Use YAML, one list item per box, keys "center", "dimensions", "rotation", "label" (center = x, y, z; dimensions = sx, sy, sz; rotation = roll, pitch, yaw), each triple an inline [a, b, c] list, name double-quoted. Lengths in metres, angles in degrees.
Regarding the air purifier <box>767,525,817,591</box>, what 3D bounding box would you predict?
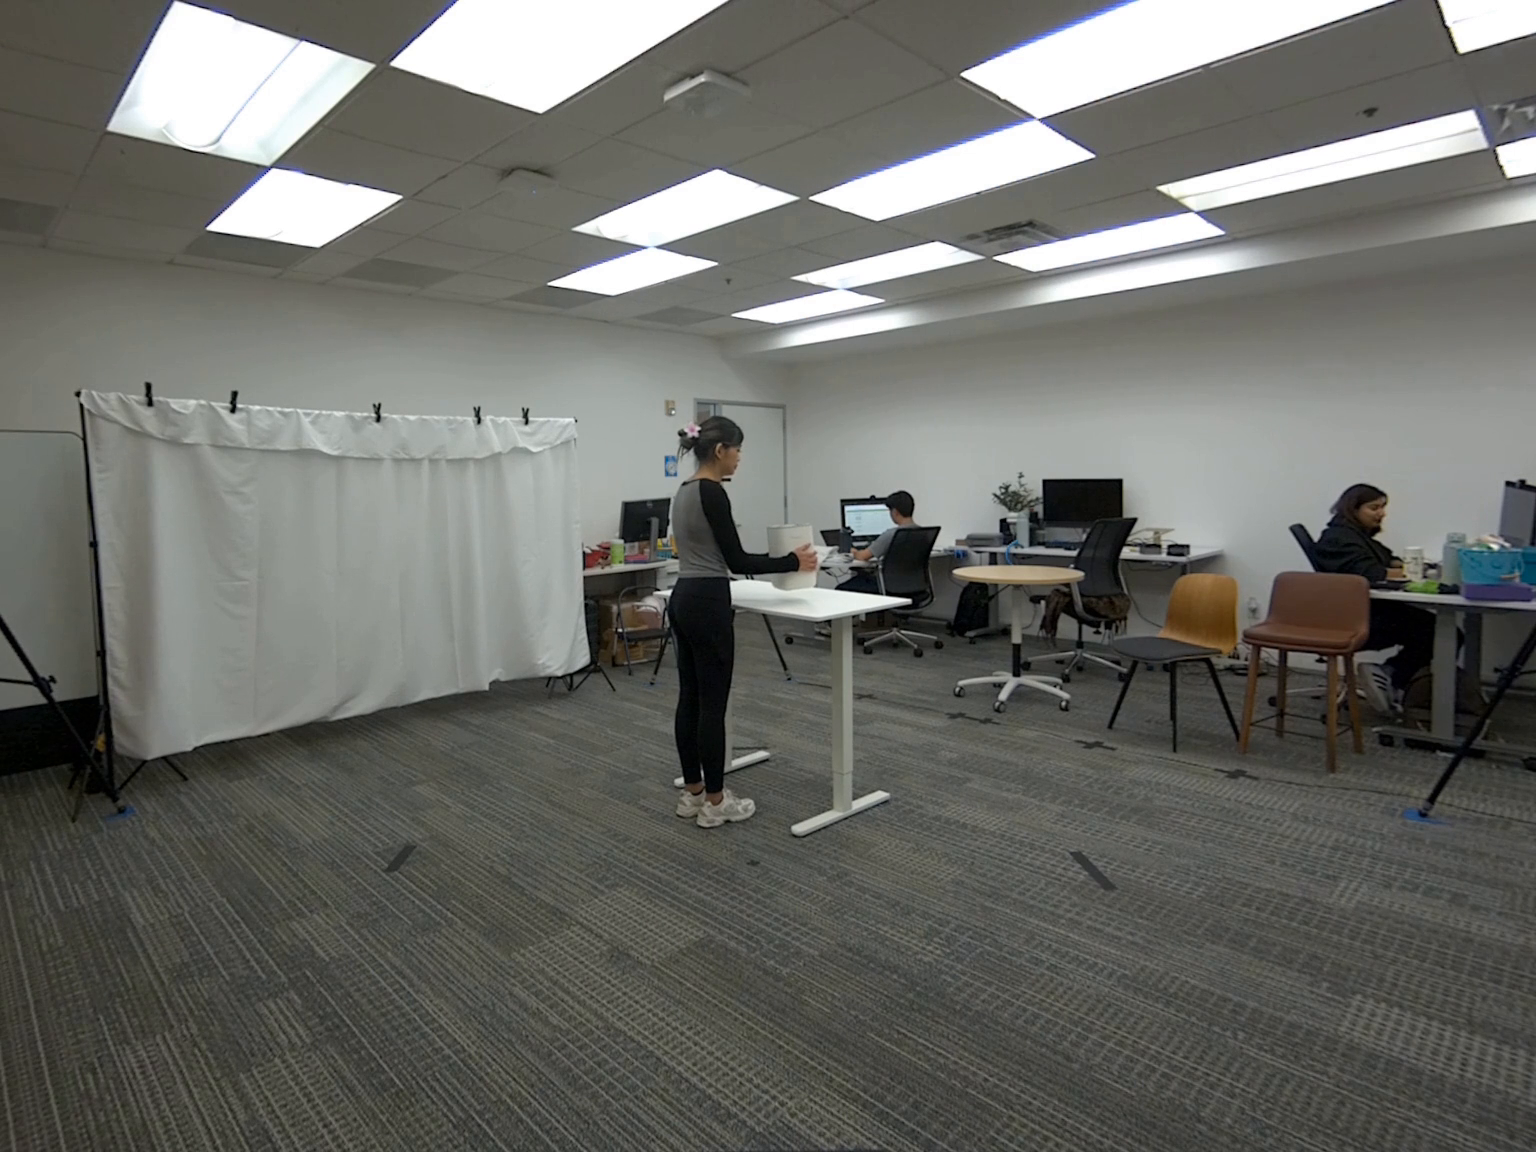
- center: [0.089, -0.076, 3.577]
  dimensions: [0.169, 0.264, 0.174]
  rotation: [-5, 5, -13]
  label: "air purifier"
